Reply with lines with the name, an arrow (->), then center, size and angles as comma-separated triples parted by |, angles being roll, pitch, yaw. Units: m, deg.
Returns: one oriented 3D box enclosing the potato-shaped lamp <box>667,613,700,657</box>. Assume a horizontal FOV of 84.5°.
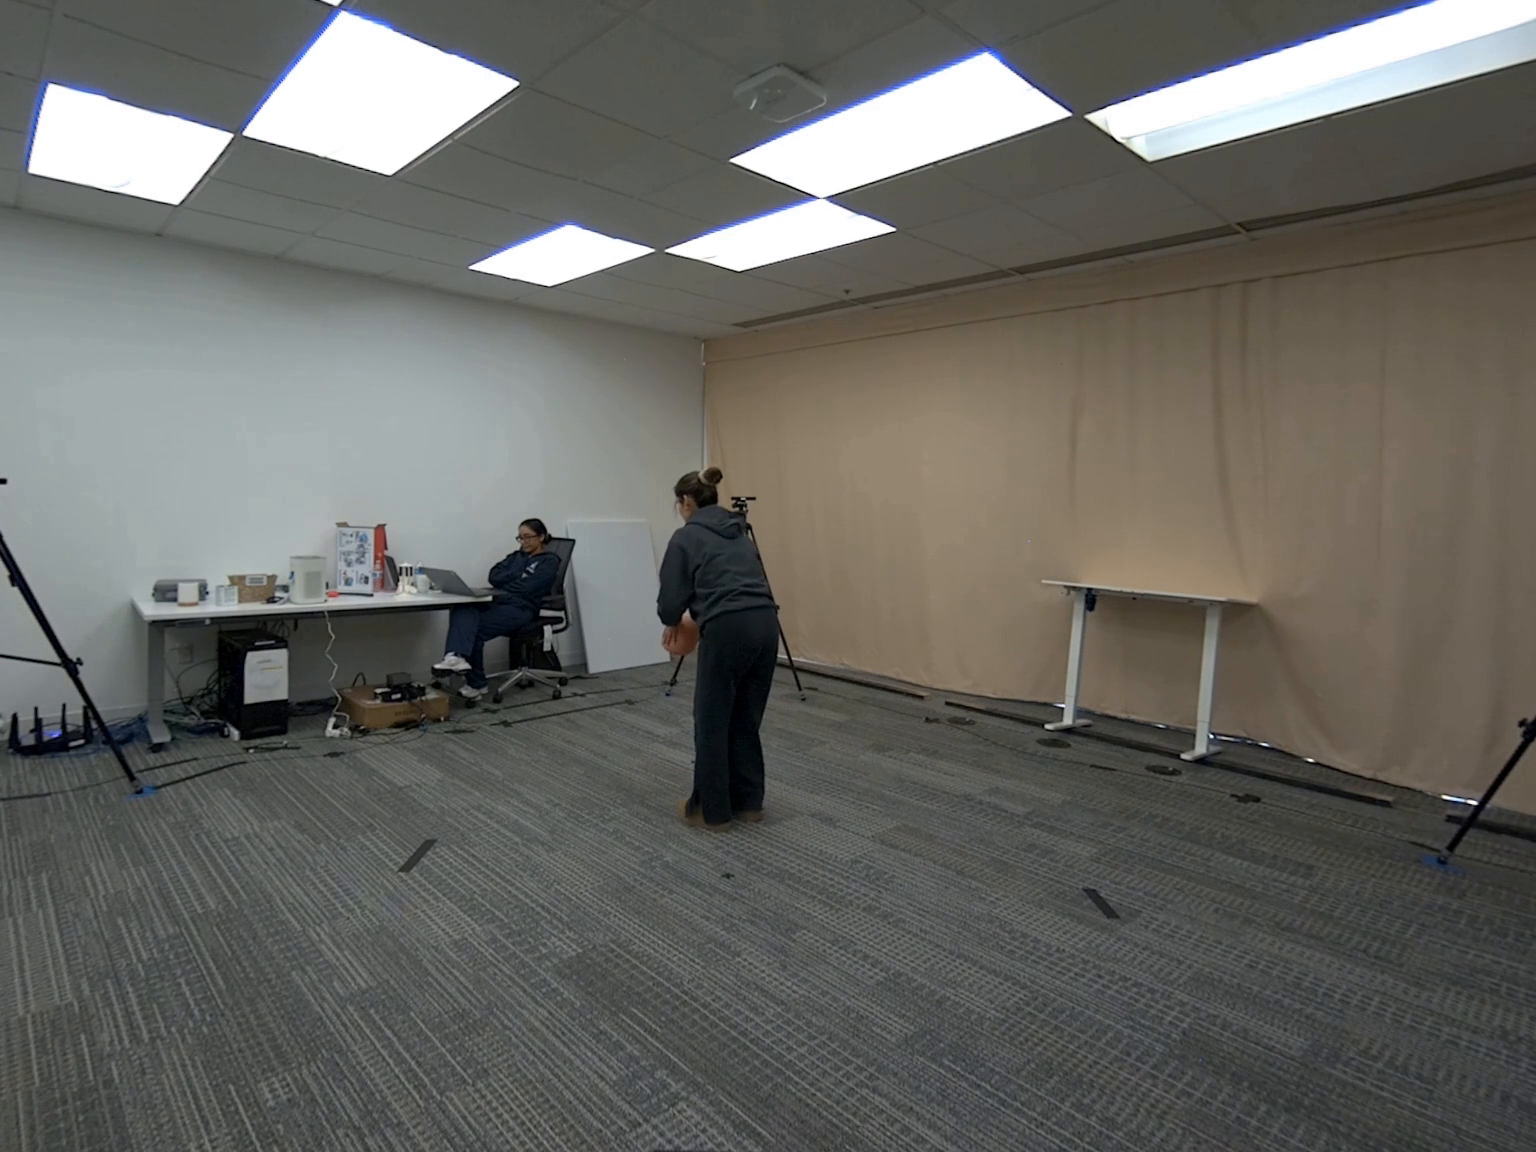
potato-shaped lamp -> -0.412, 0.260, 3.902 | 0.161, 0.196, 0.177 | -1, 24, -38
